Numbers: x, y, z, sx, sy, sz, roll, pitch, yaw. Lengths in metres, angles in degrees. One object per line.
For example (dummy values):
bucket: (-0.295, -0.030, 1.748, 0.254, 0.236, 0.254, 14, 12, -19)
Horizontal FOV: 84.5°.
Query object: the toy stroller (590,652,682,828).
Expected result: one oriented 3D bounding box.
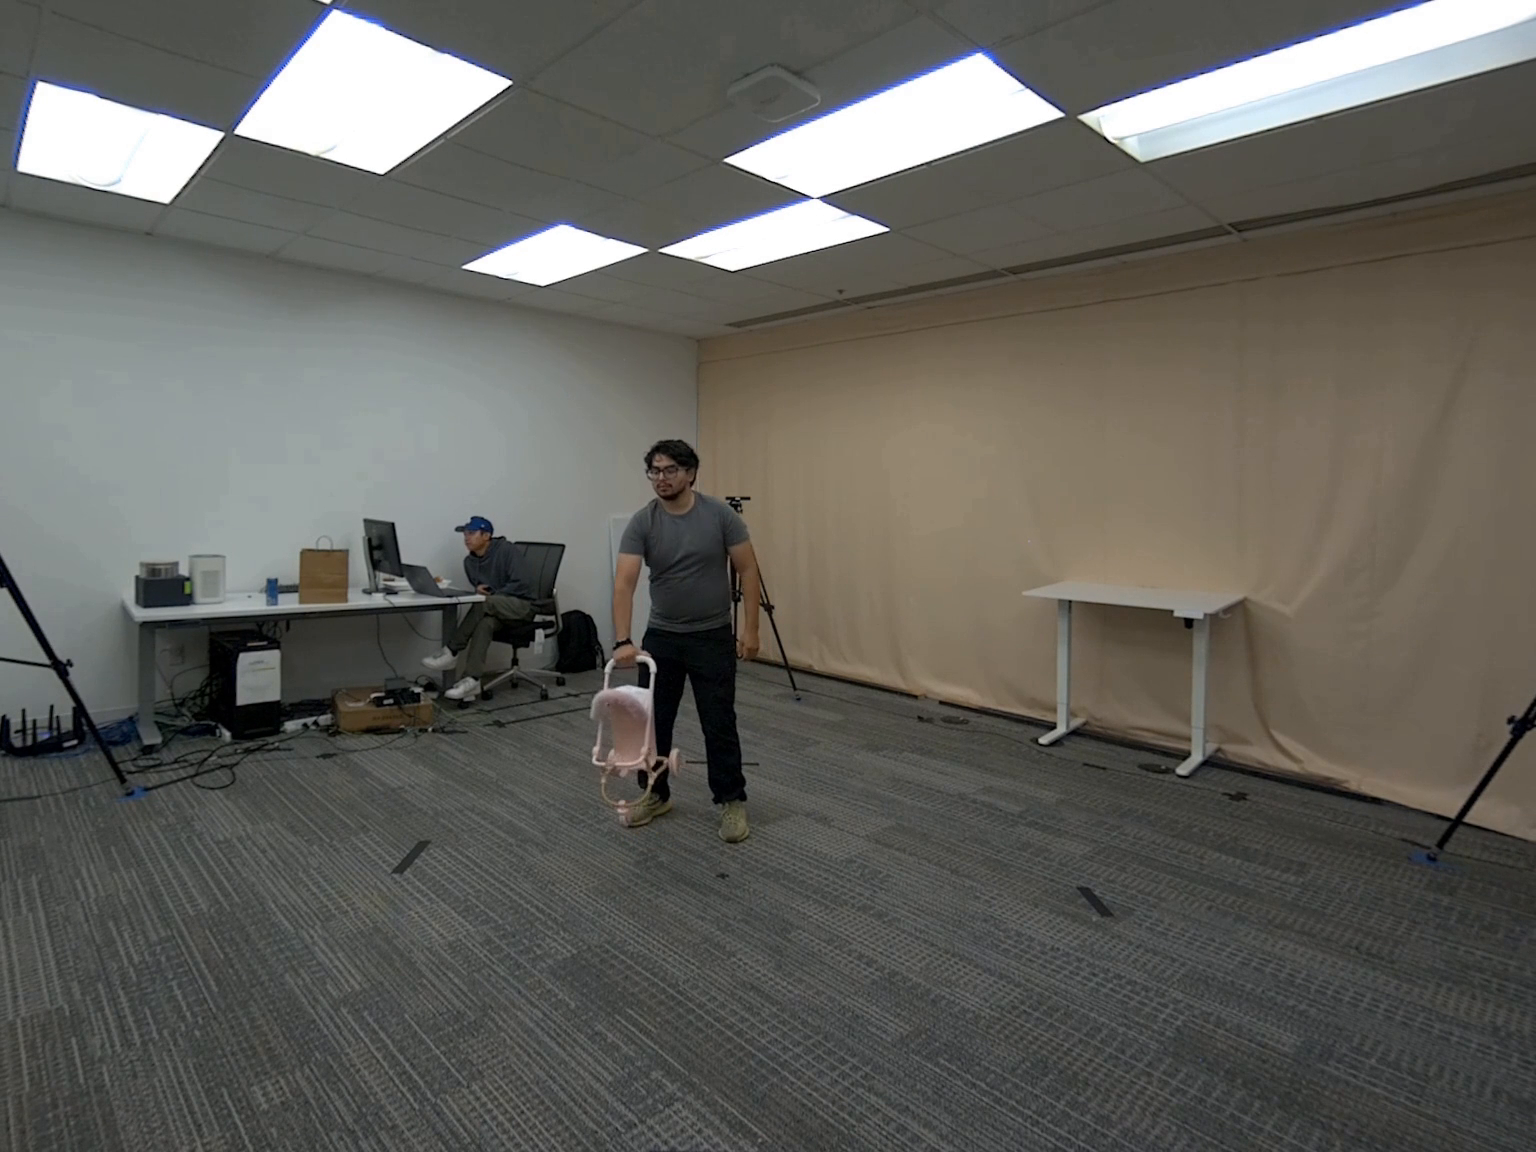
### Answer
toy stroller: (-0.533, 0.615, 3.108, 0.285, 0.527, 0.341, 0, 19, 18)
